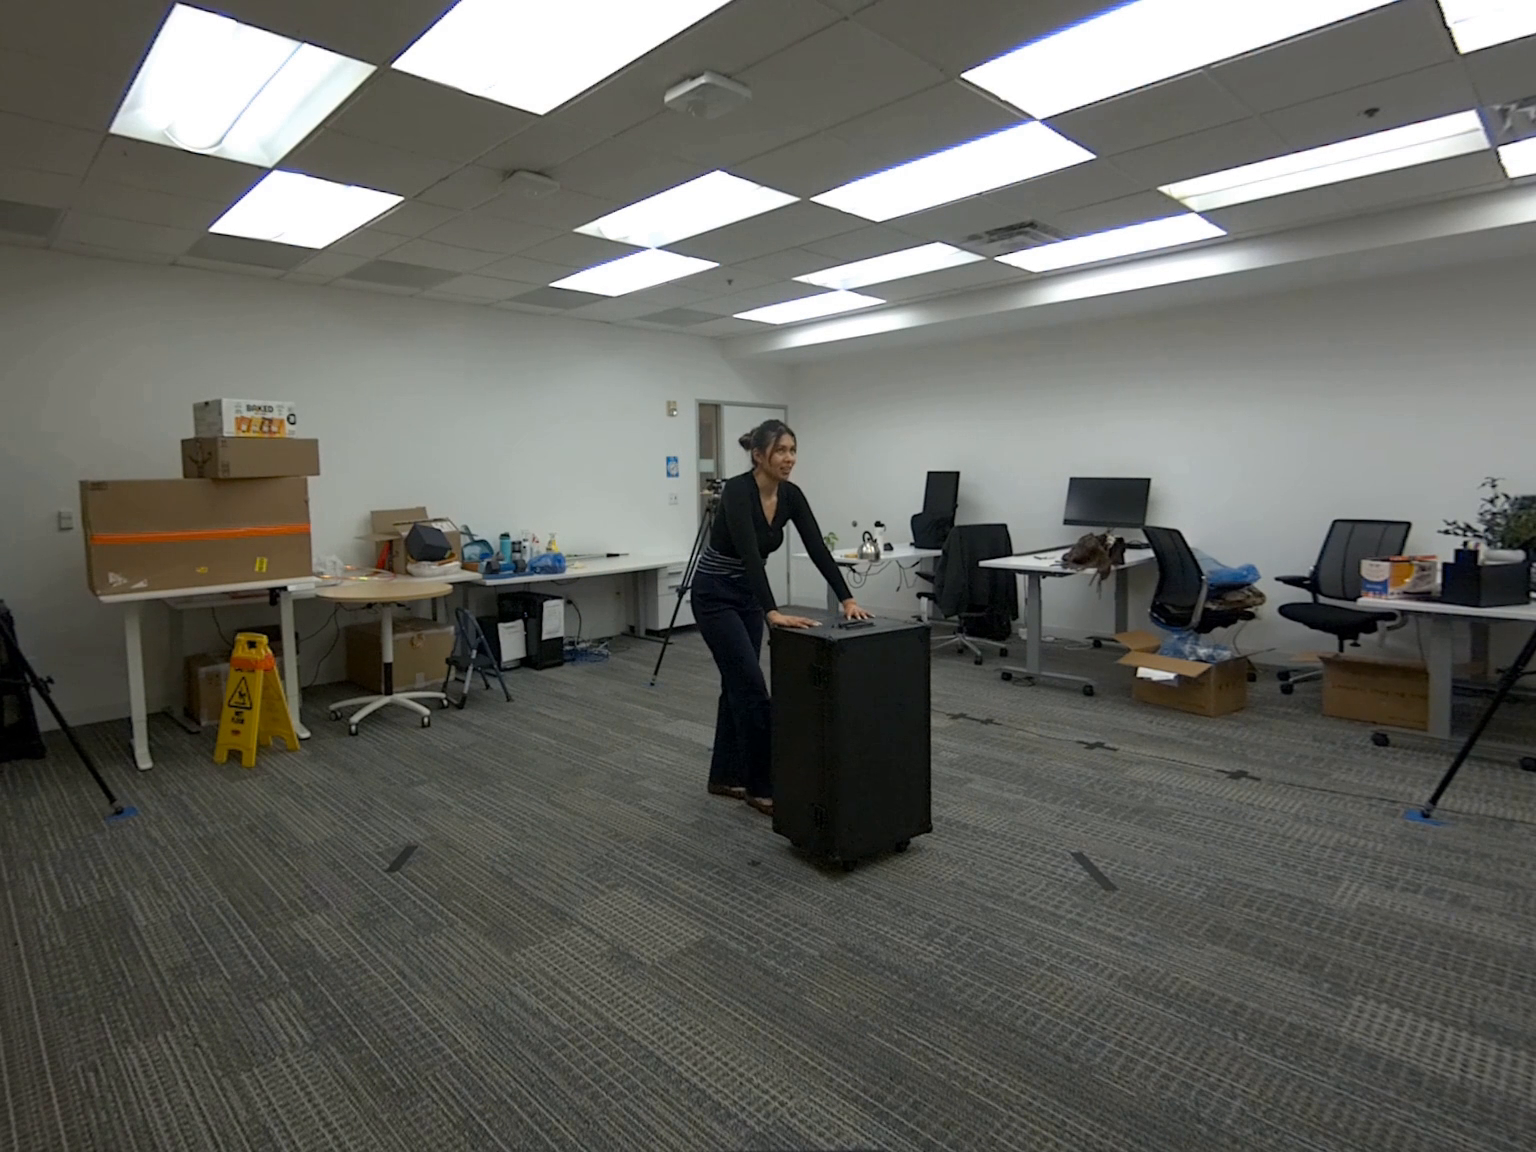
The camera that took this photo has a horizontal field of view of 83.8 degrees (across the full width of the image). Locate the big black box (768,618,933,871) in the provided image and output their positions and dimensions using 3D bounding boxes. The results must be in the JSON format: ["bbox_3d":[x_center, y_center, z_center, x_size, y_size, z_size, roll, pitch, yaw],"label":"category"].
[{"bbox_3d":[0.298,0.603,3.182,0.508,0.859,0.408,-4,4,-35],"label":"big black box"}]
